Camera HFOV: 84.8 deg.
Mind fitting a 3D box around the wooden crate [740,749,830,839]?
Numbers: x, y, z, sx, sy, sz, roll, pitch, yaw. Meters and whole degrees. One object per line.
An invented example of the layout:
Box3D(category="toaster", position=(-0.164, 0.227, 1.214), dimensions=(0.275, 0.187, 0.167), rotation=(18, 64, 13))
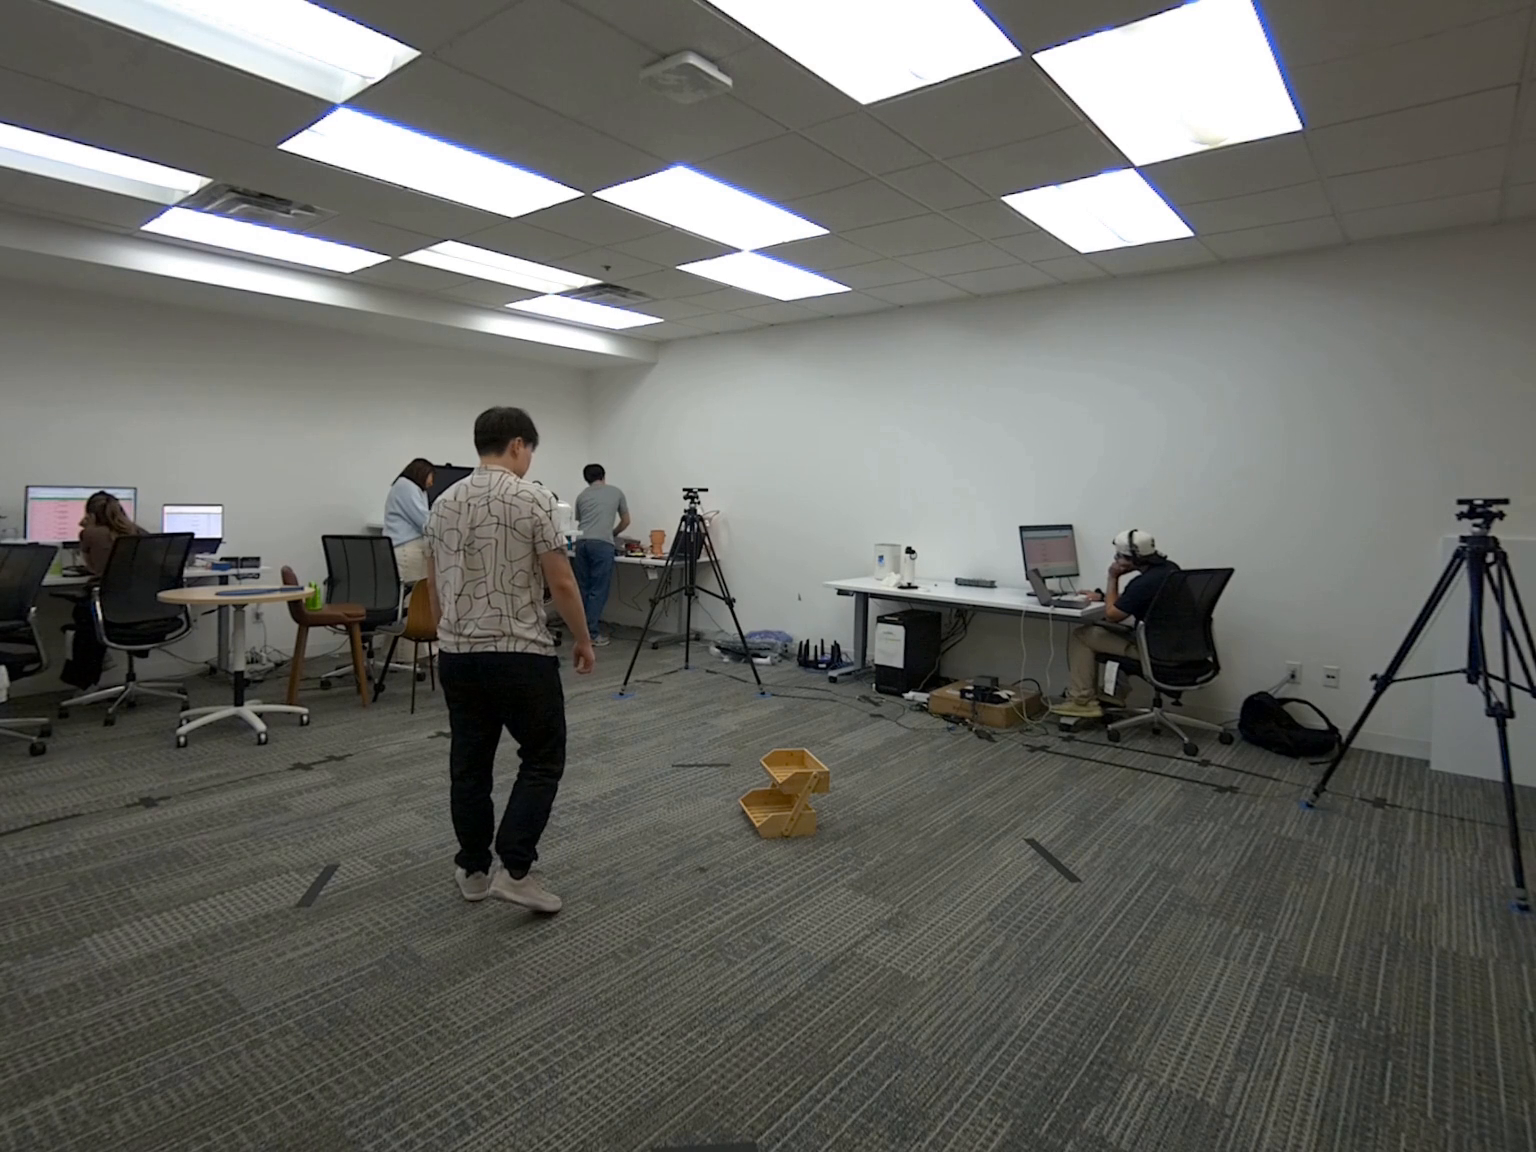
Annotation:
Box3D(category="wooden crate", position=(0.051, 0.892, 3.570), dimensions=(0.297, 0.272, 0.331), rotation=(0, 4, -15))
